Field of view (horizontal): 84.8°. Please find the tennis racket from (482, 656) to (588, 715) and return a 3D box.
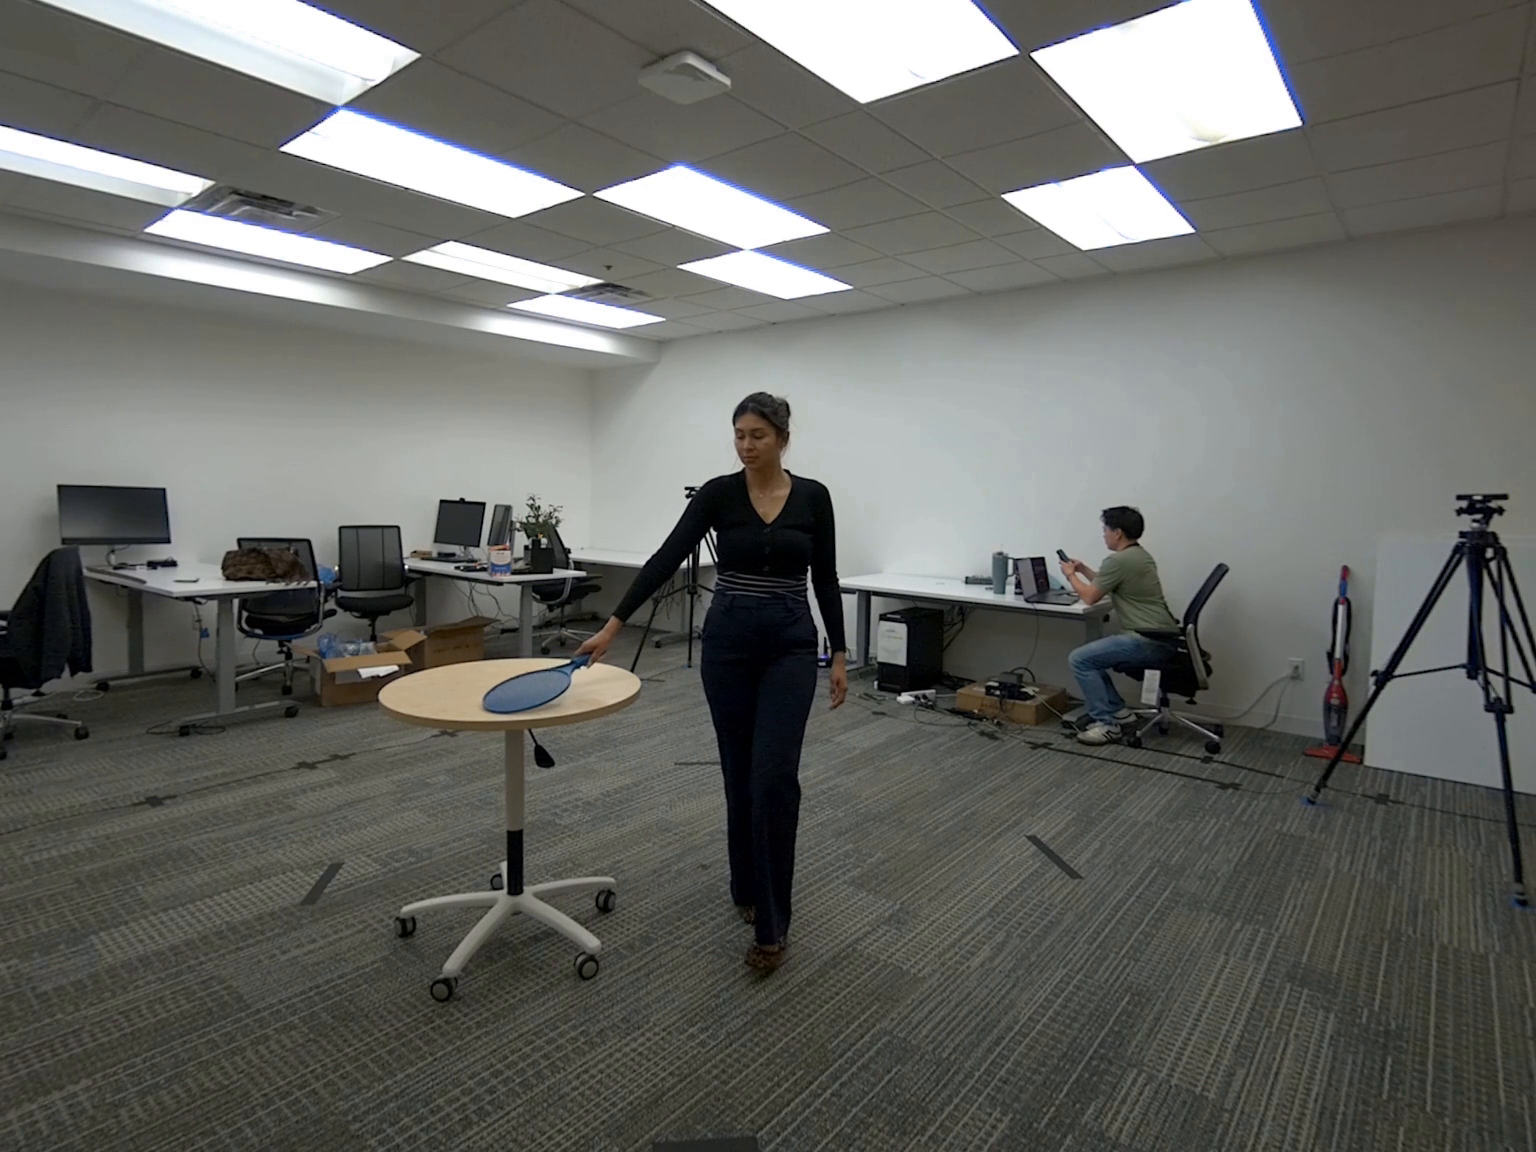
[{"bbox_3d":[-0.649,0.302,2.428,0.221,0.031,0.424,8,19,35],"label":"tennis racket"}]
